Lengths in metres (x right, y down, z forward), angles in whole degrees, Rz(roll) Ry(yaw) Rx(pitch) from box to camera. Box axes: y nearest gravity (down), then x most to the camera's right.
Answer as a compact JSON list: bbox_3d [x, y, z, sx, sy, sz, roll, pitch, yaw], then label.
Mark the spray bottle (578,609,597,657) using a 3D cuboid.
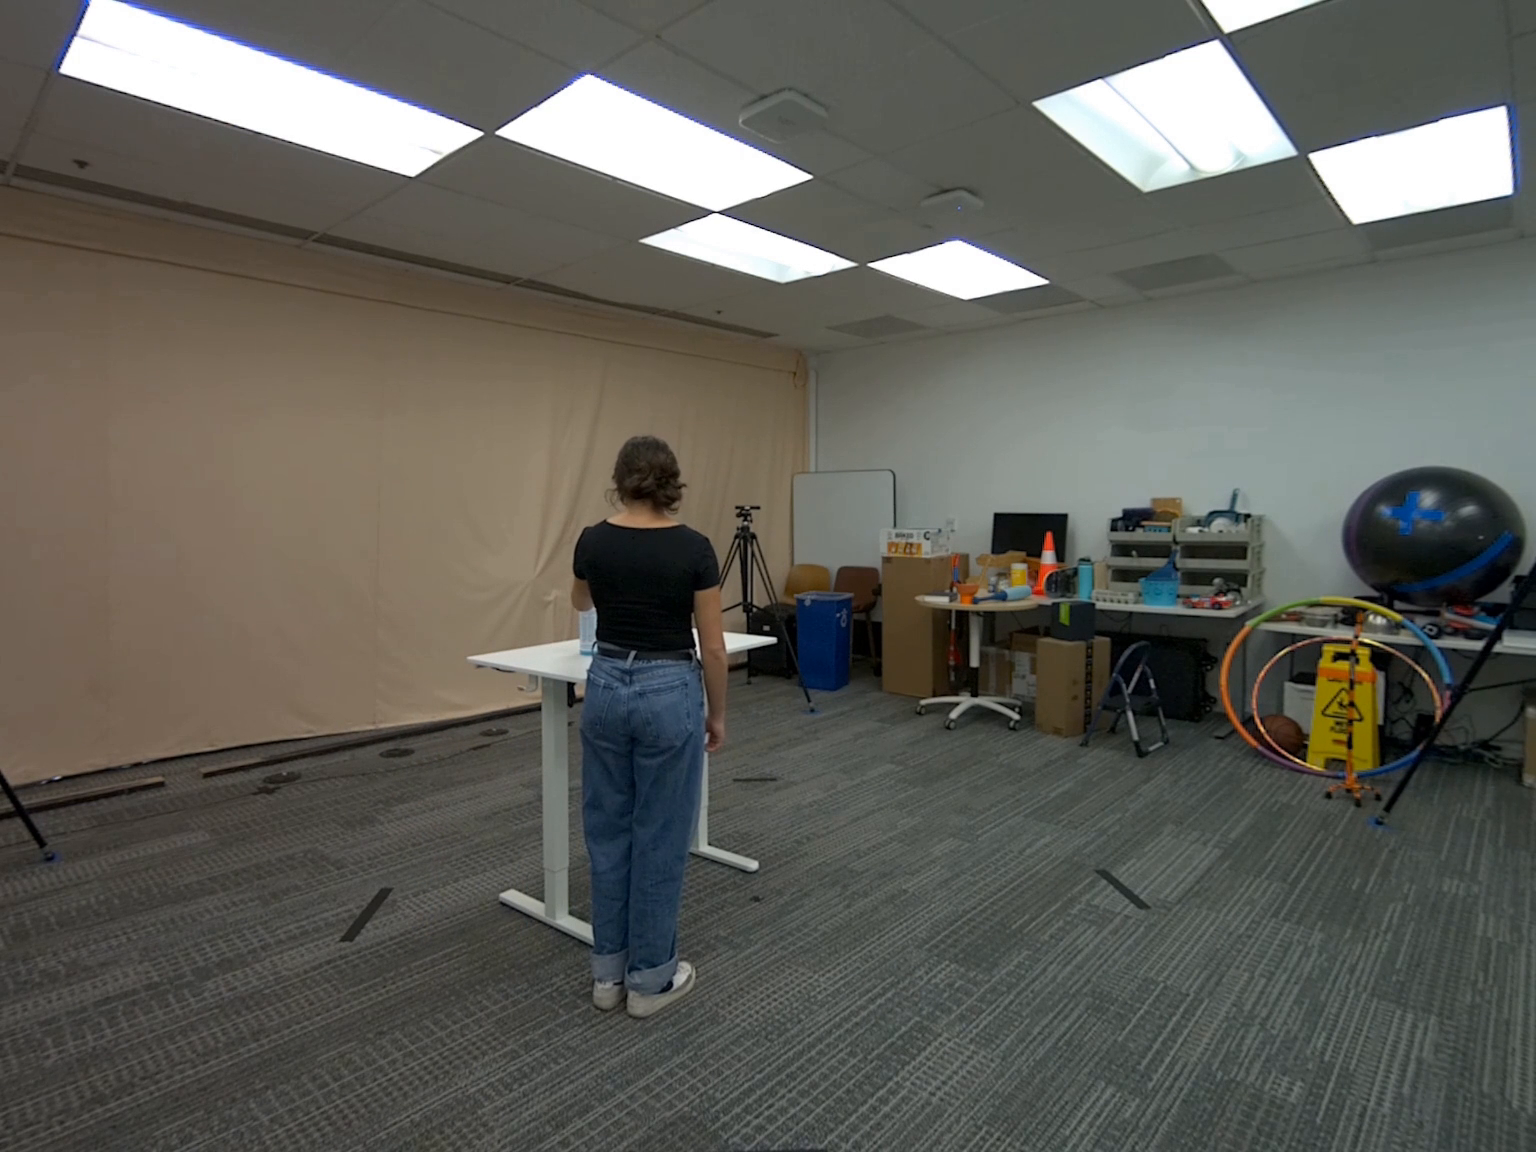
[{"bbox_3d":[-0.617,0.126,2.918,0.084,0.297,0.093,-2,4,-44],"label":"spray bottle"}]
